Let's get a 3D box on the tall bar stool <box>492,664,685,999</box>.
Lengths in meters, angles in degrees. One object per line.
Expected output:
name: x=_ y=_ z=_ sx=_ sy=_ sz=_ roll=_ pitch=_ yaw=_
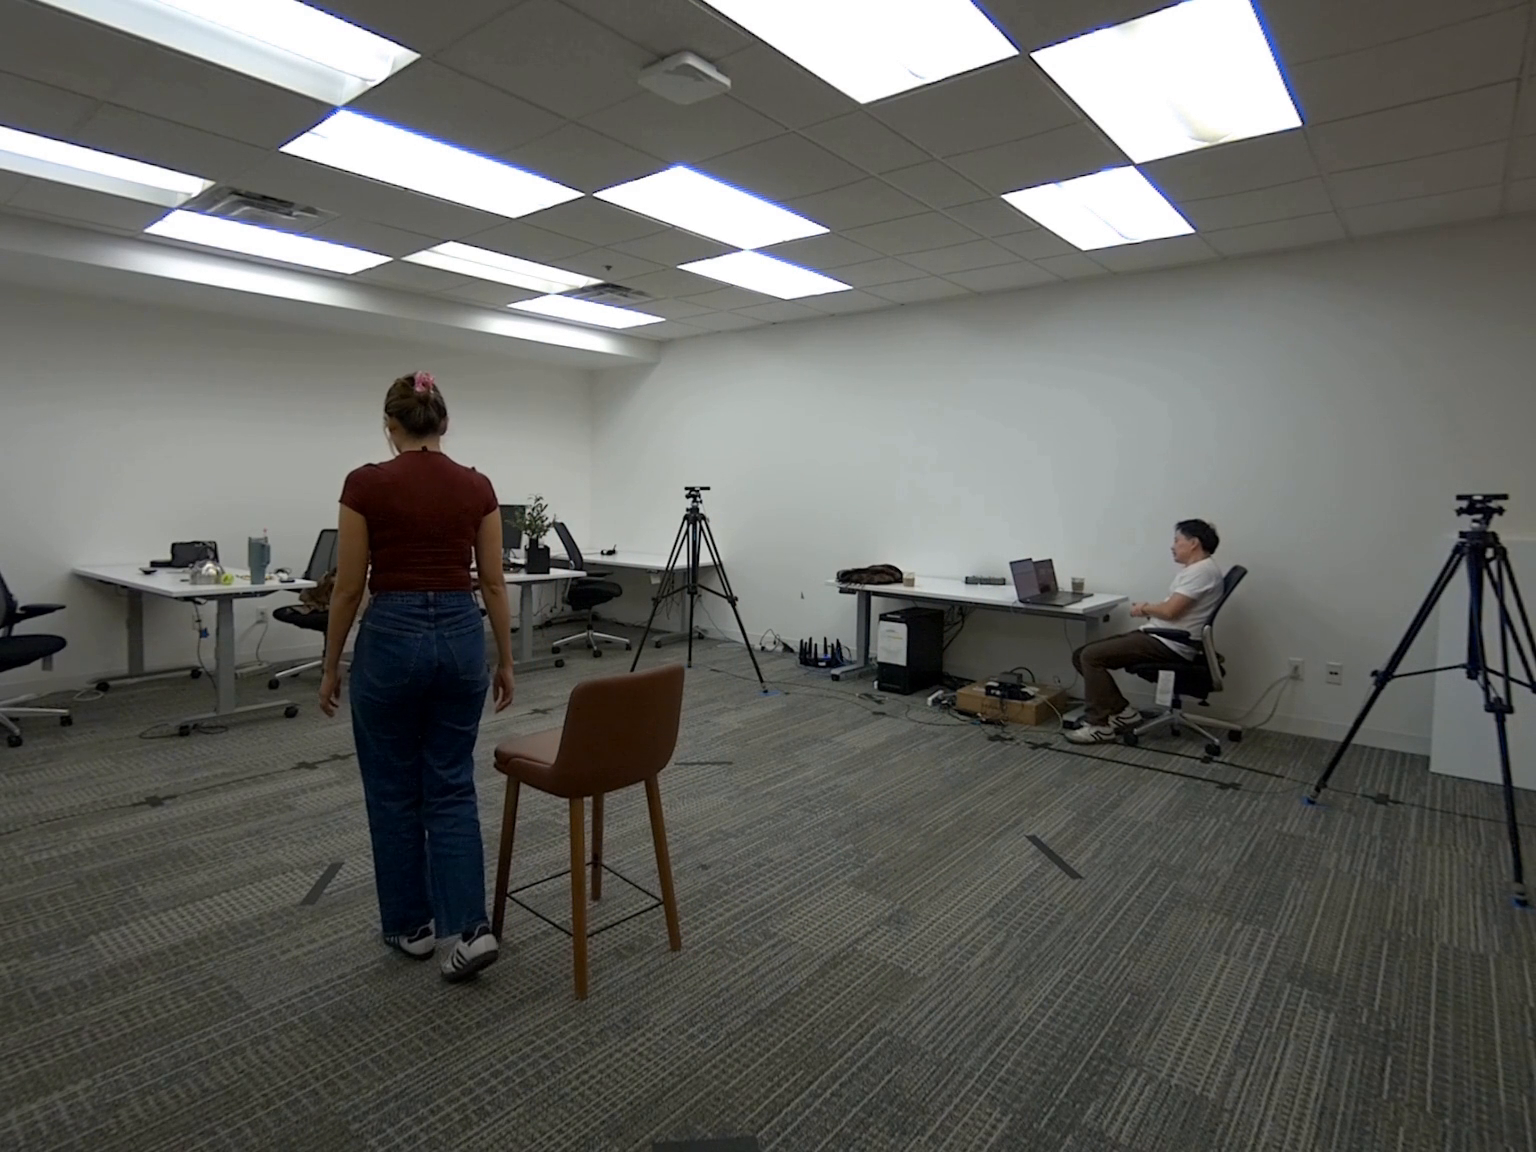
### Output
tall bar stool: x=-0.548 y=0.685 z=2.553 sx=0.484 sy=0.885 sz=0.443 roll=7 pitch=7 yaw=43
